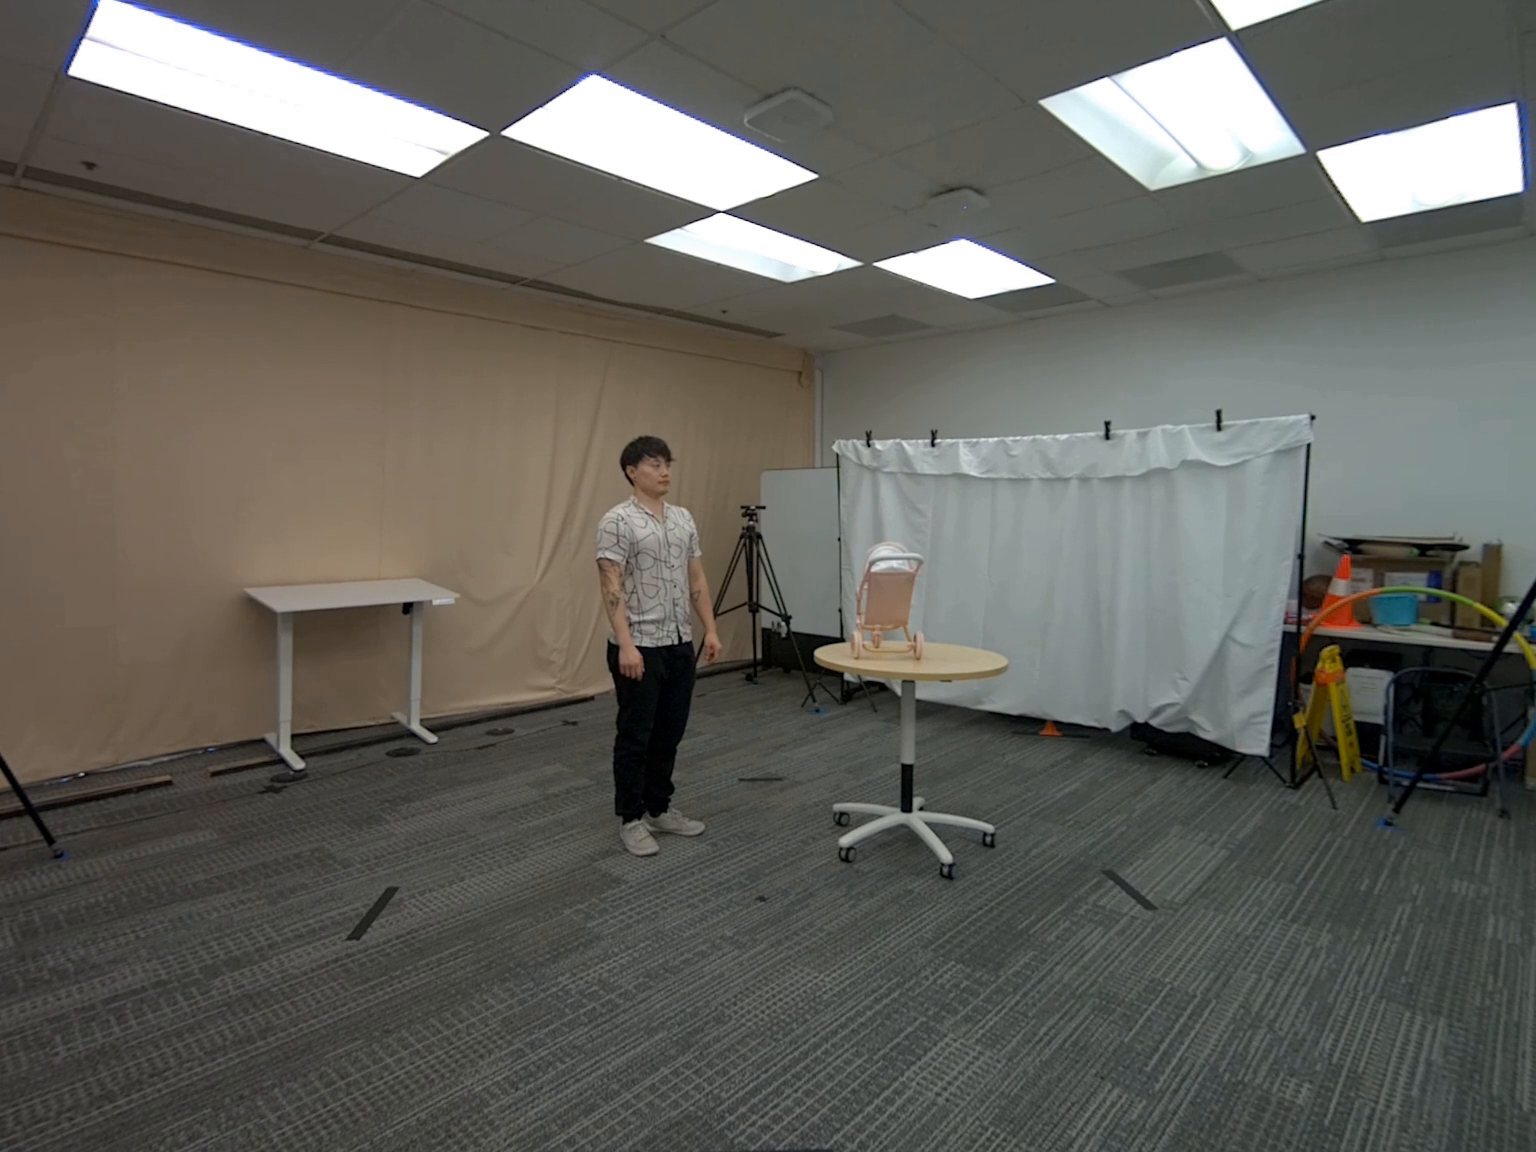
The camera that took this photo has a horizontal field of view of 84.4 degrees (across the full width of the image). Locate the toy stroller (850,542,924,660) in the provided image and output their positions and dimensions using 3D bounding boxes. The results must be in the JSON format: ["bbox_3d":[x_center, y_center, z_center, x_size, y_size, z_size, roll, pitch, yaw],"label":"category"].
[{"bbox_3d":[0.481,0.101,3.393,0.282,0.528,0.344,1,20,2],"label":"toy stroller"}]
